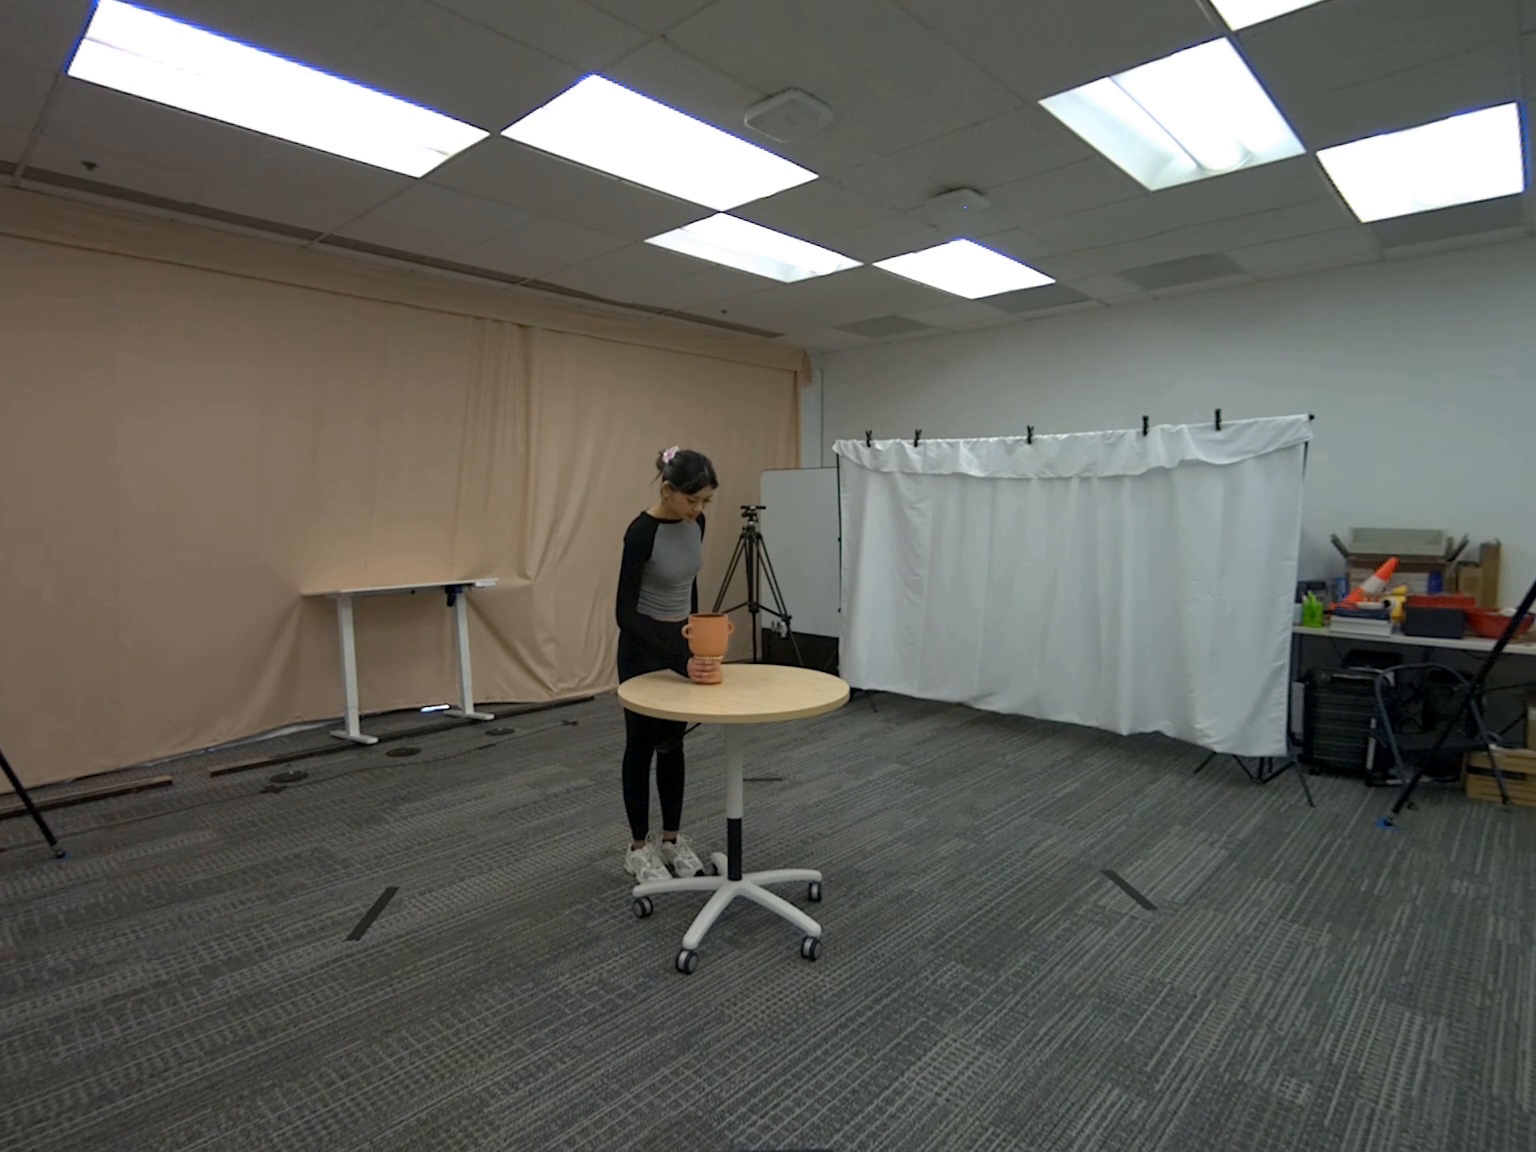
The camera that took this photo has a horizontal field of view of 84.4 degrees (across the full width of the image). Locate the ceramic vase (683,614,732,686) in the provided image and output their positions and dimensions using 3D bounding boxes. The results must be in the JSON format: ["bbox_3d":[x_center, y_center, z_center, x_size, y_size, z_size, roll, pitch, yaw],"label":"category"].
[{"bbox_3d":[-0.204,0.244,2.850,0.160,0.219,0.133,0,4,9],"label":"ceramic vase"}]
